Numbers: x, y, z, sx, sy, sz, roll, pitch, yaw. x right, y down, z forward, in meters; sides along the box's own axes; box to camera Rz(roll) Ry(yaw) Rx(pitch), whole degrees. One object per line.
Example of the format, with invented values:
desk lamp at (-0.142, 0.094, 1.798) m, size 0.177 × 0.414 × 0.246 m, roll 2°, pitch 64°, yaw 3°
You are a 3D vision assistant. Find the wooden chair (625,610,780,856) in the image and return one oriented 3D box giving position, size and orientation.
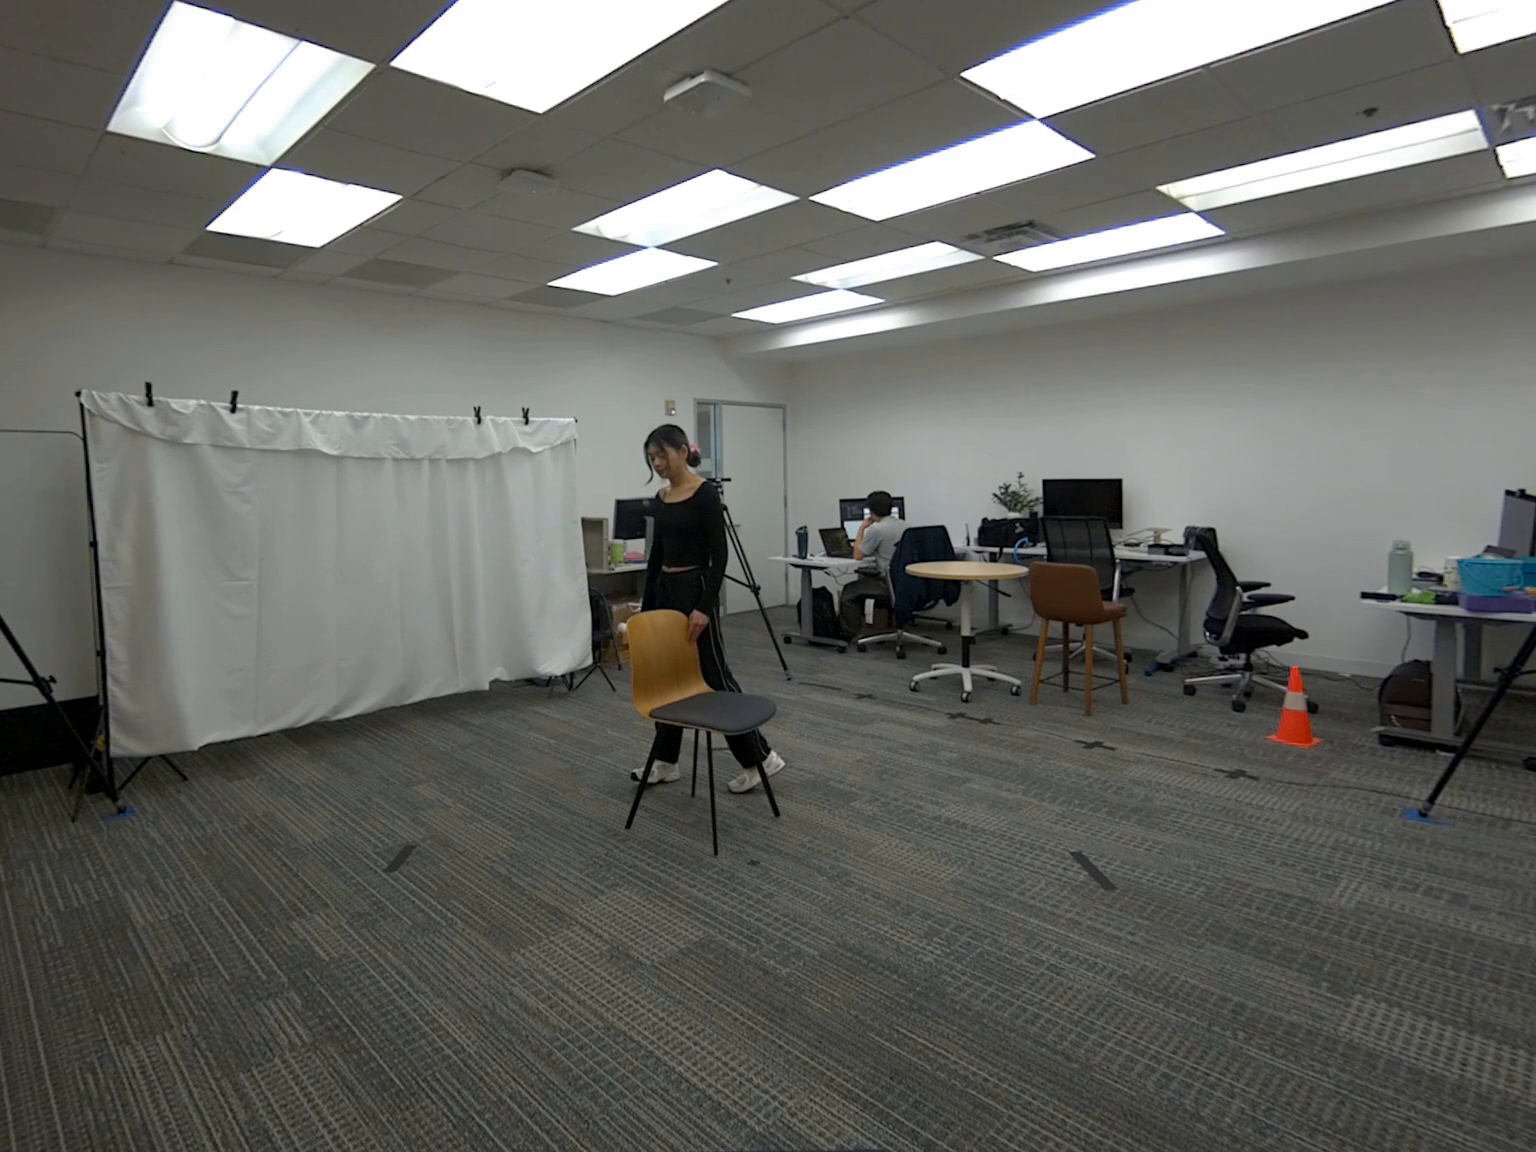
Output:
wooden chair at (-0.263, 0.583, 3.437) m, size 0.536 × 0.877 × 0.466 m, roll -4°, pitch 1°, yaw 34°
